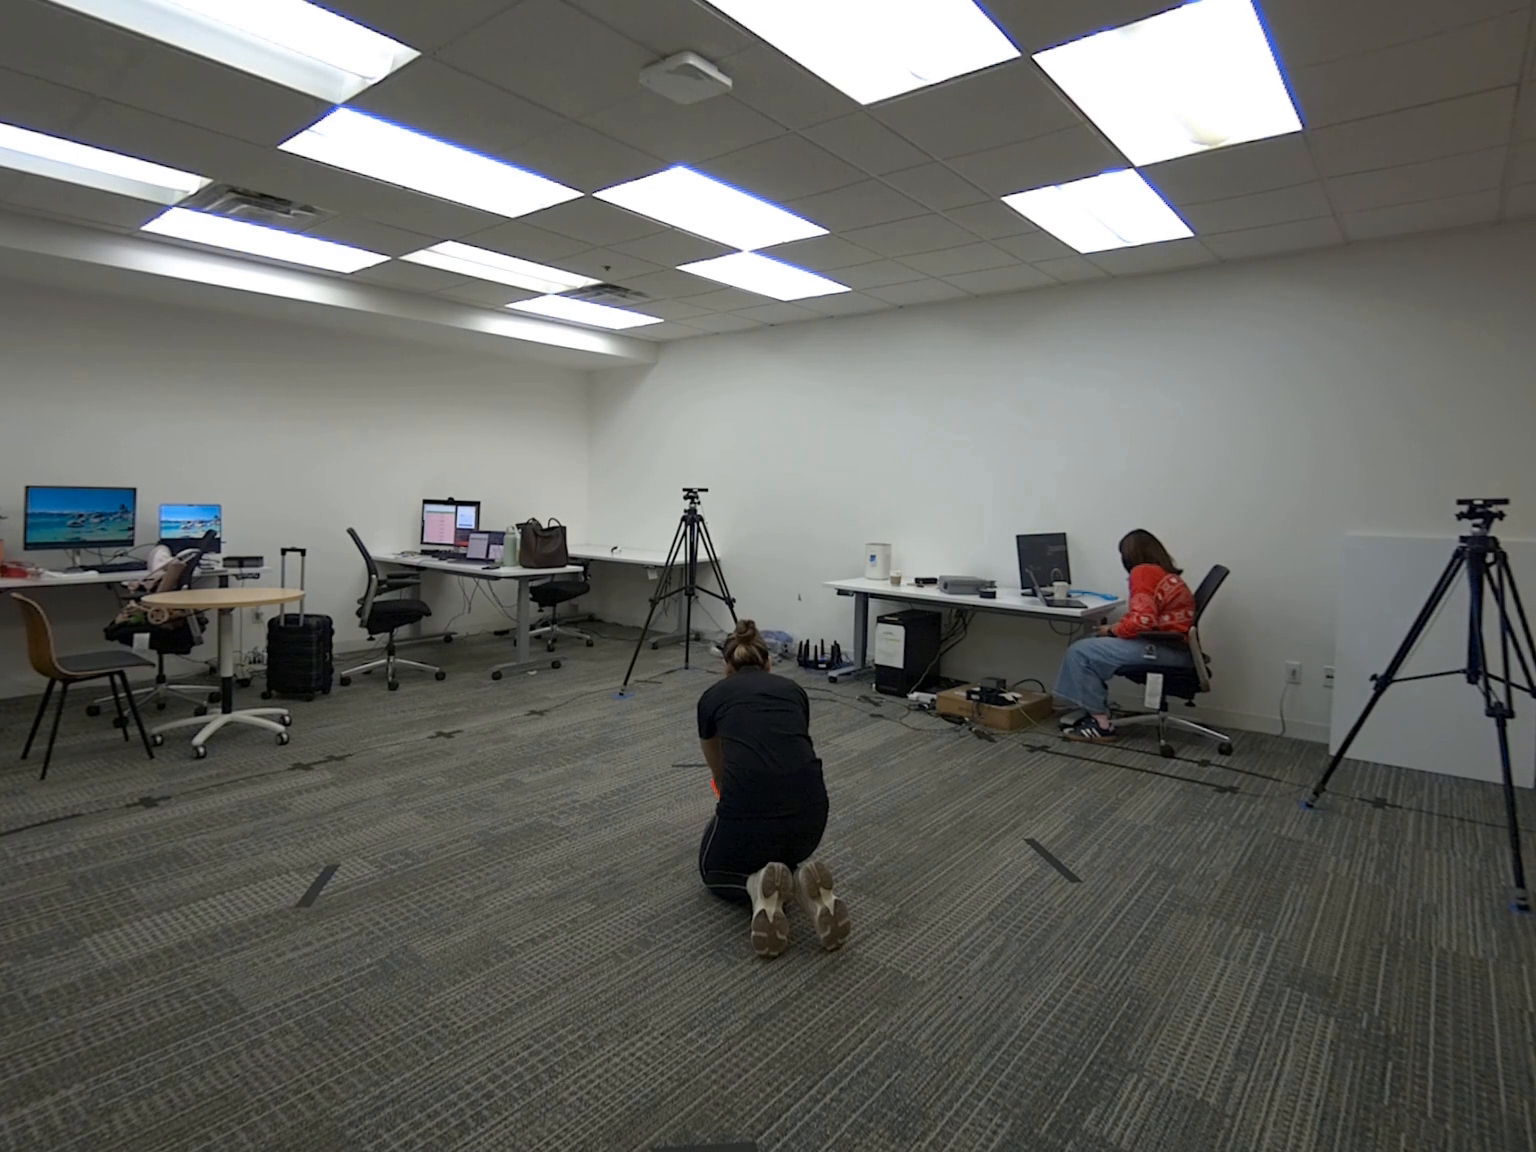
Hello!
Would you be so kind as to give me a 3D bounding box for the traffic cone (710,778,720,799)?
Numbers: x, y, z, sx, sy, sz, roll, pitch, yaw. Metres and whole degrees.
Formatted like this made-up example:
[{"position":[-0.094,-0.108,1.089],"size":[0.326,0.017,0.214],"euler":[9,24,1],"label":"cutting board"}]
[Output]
[{"position":[-0.123,0.988,3.422],"size":[0.204,0.199,0.392],"euler":[-27,22,8],"label":"traffic cone"}]
